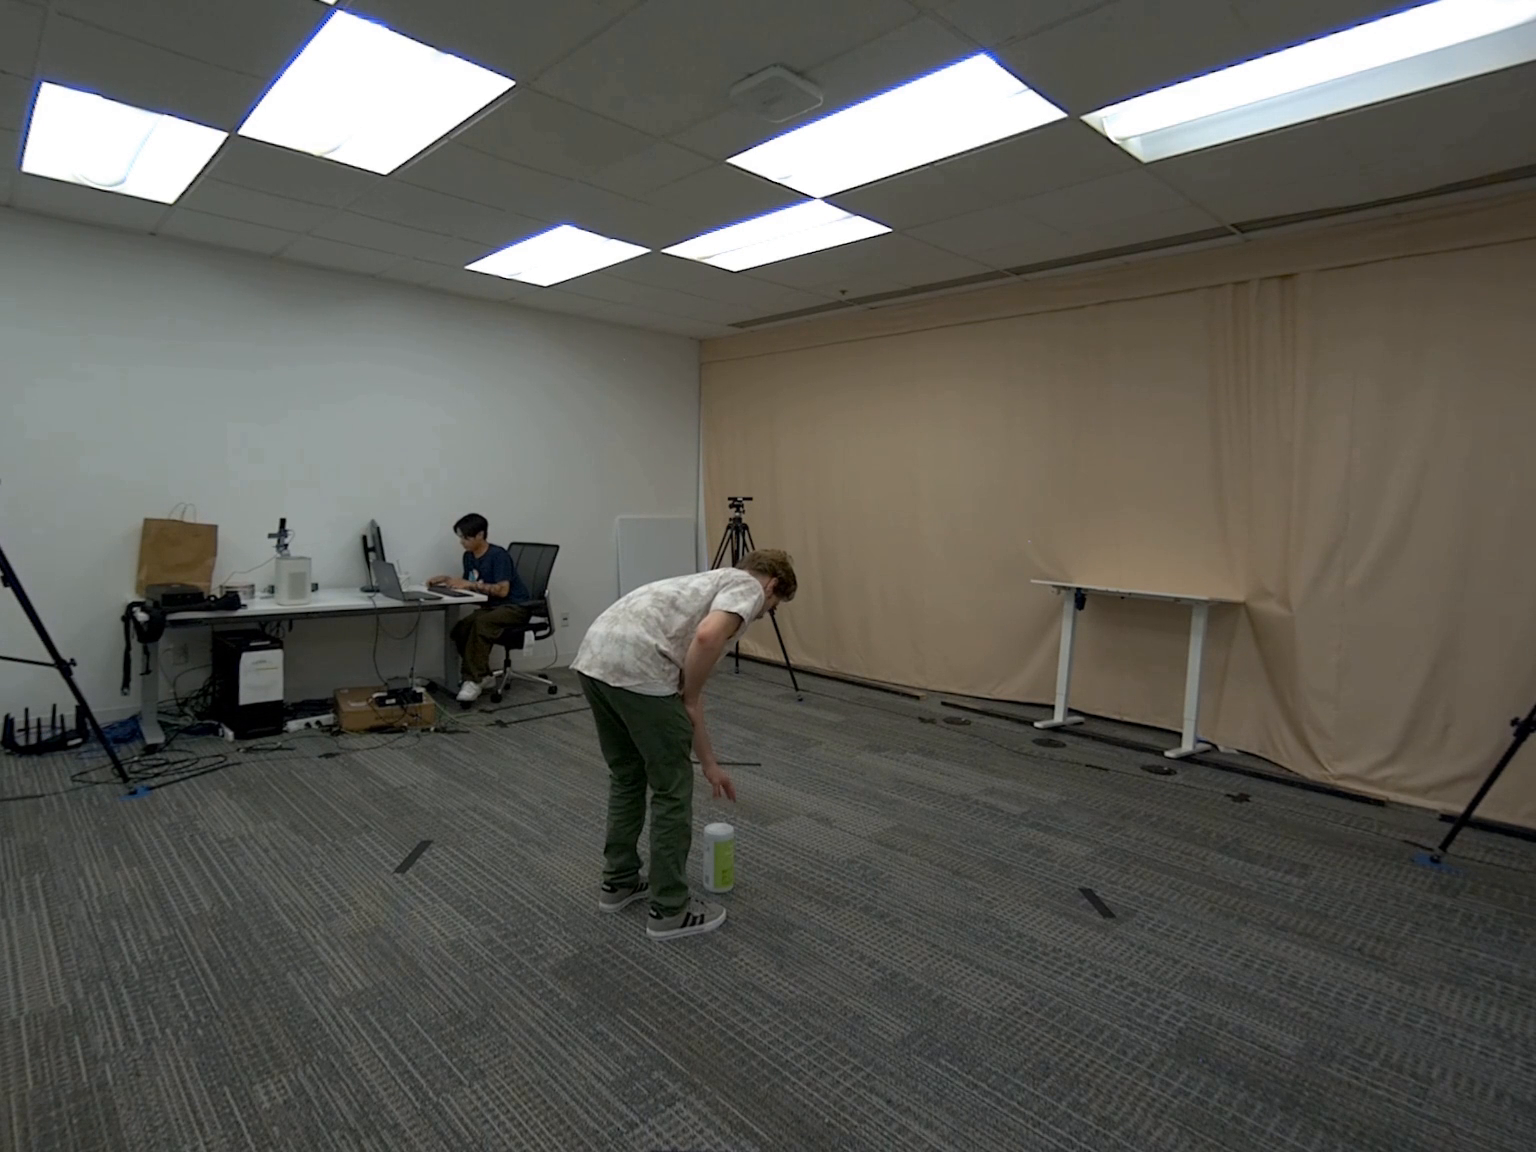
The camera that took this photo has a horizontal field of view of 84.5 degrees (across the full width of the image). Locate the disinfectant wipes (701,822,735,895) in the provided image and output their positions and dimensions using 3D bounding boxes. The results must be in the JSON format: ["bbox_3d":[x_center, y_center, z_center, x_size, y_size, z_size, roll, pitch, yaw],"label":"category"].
[{"bbox_3d":[-0.184,1.012,3.008,0.118,0.217,0.118,0,3,-1],"label":"disinfectant wipes"}]
